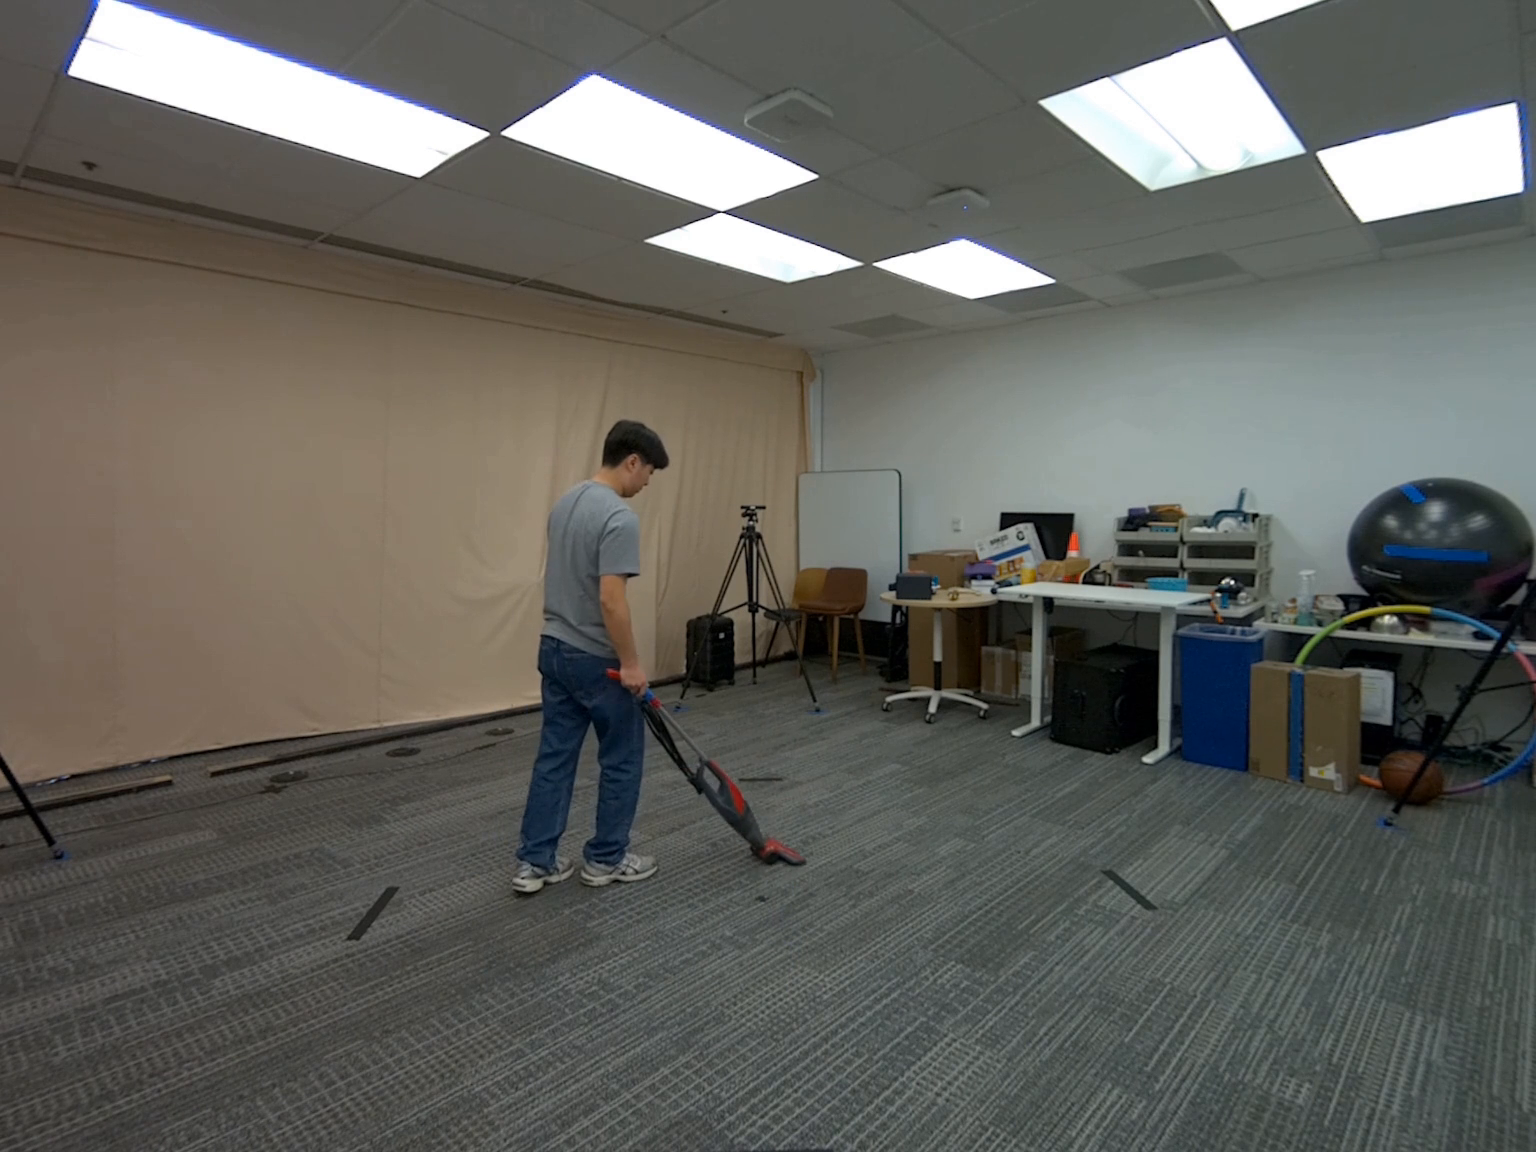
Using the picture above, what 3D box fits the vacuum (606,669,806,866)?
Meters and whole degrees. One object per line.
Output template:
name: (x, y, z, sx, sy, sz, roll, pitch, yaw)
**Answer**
vacuum: (-0.253, 0.733, 3.163, 0.143, 1.026, 0.260, -46, 22, -22)
